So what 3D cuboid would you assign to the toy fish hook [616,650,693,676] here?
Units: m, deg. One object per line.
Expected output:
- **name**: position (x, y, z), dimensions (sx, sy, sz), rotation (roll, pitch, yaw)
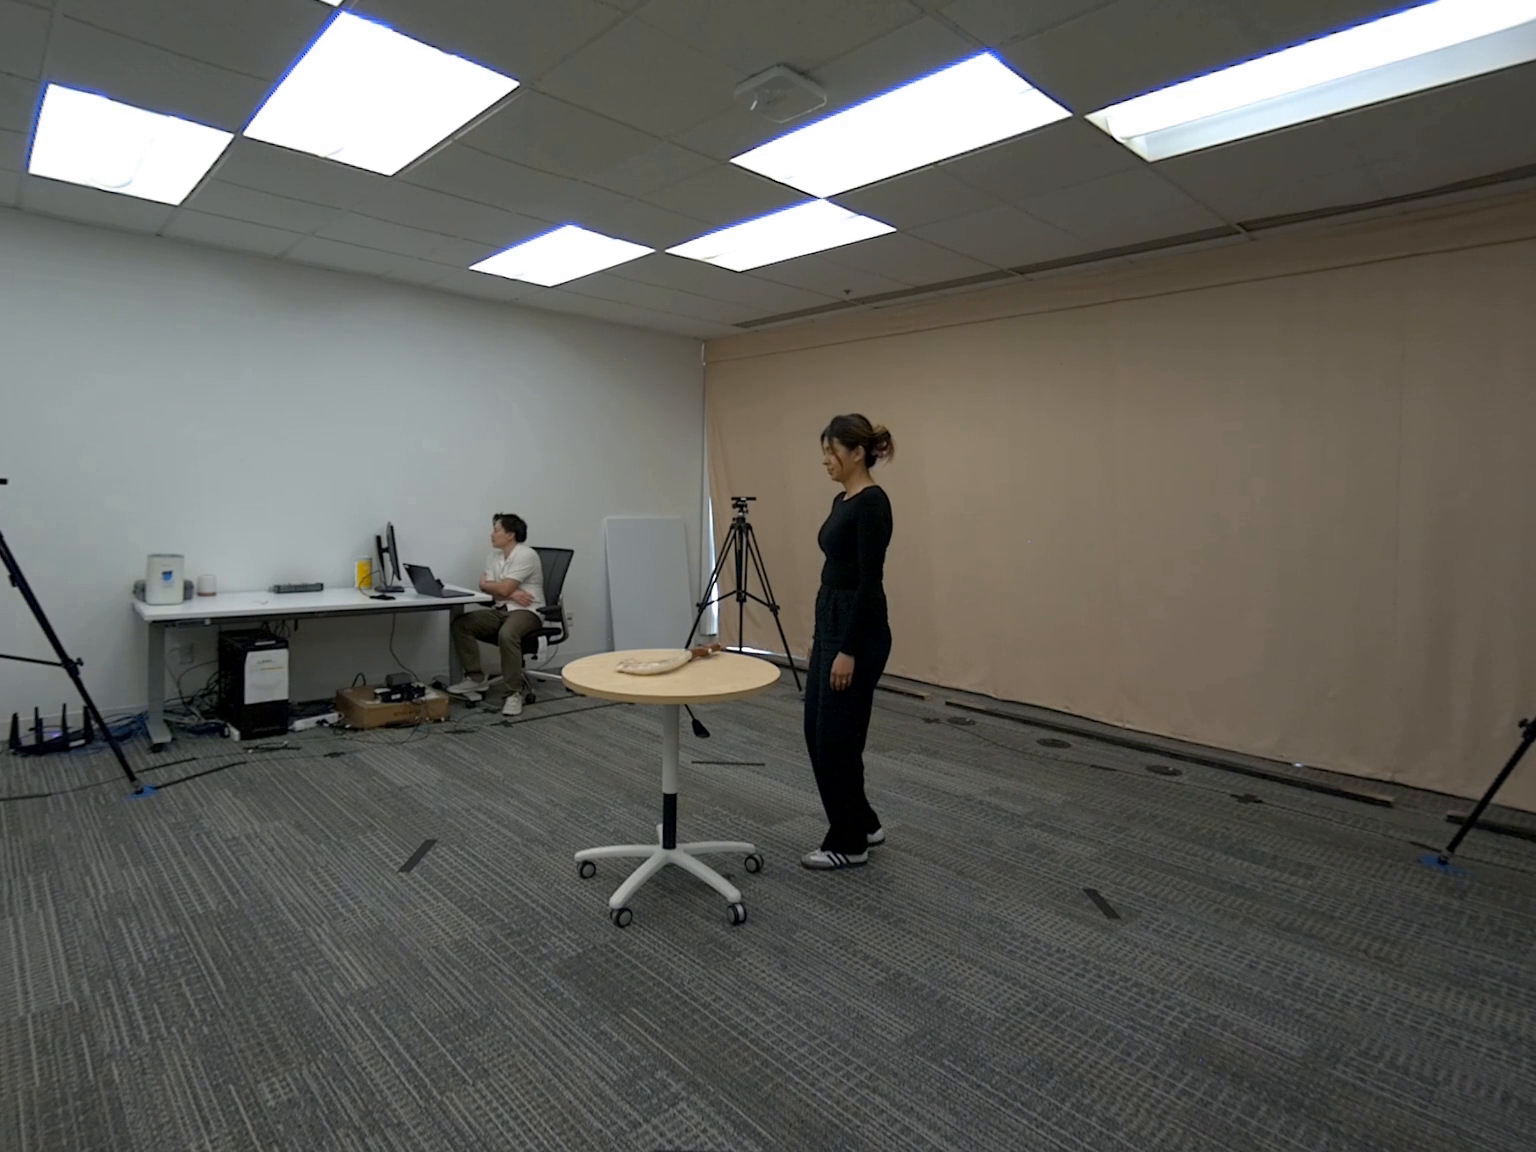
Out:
- **toy fish hook**: position (-0.383, 0.301, 3.086), dimensions (0.229, 0.048, 0.497), rotation (6, 8, 28)
